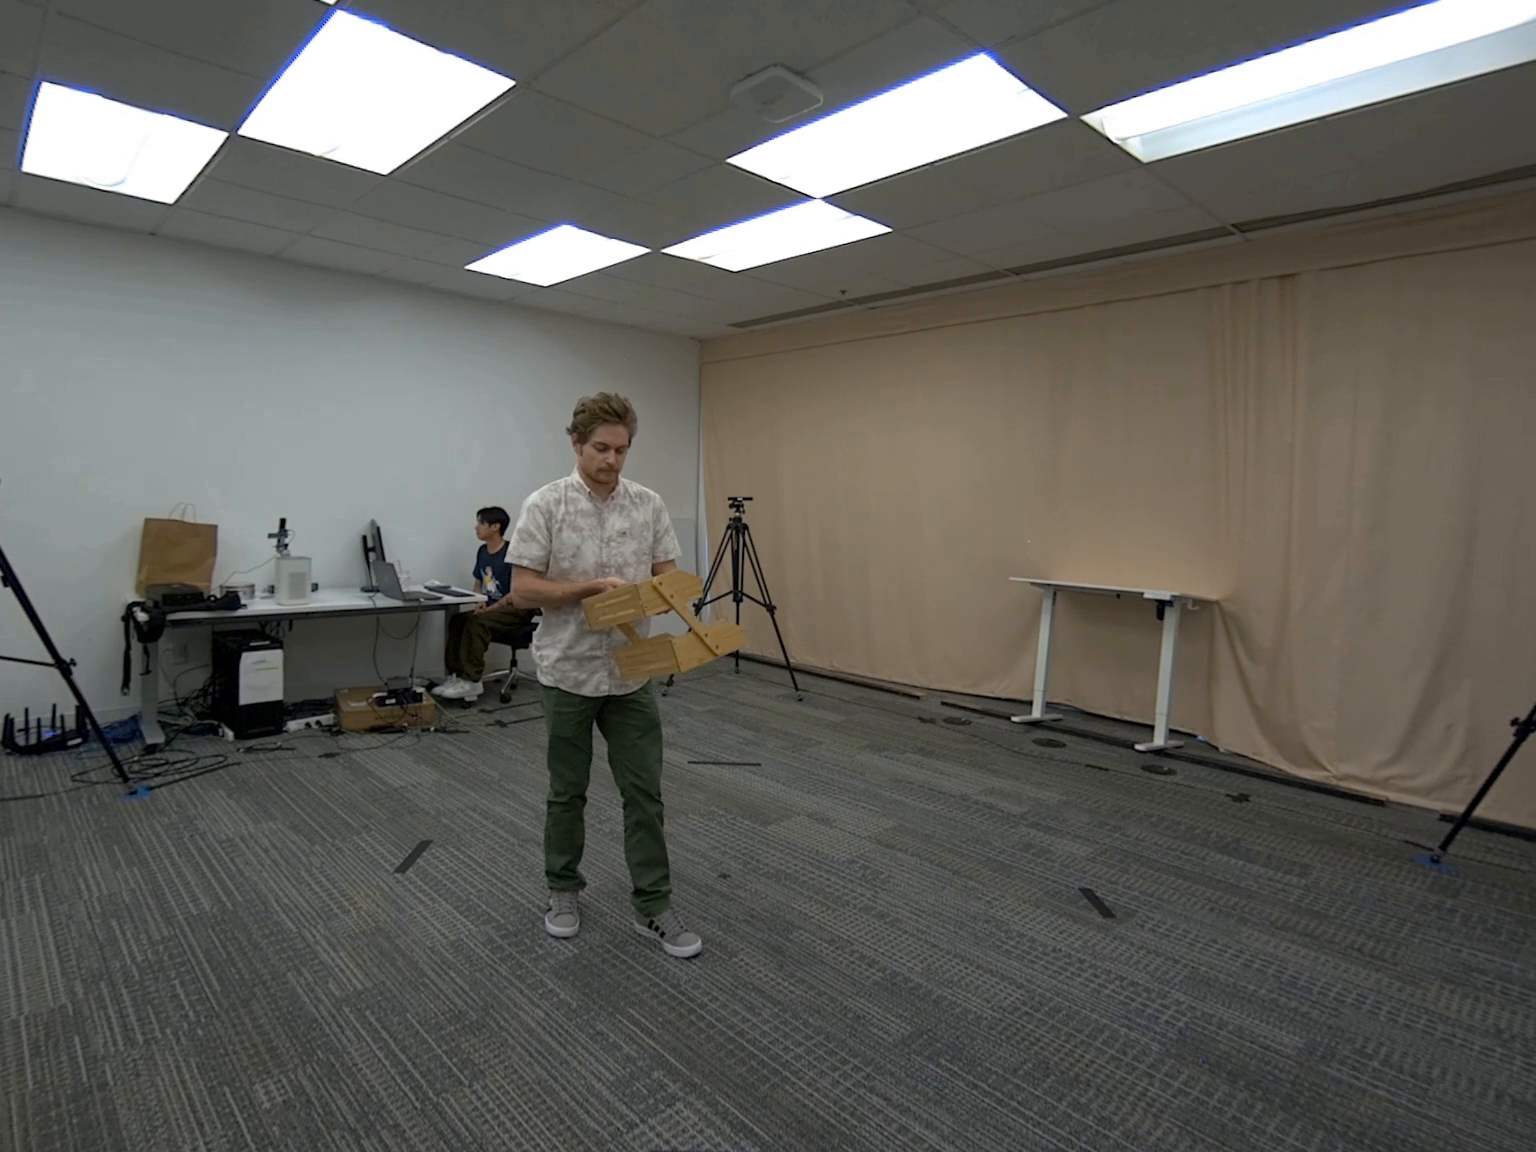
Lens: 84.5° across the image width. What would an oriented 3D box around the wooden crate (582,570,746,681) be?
[{"bbox_3d":[-0.292,0.129,2.360,0.297,0.273,0.329,-19,2,-42],"label":"wooden crate"}]
